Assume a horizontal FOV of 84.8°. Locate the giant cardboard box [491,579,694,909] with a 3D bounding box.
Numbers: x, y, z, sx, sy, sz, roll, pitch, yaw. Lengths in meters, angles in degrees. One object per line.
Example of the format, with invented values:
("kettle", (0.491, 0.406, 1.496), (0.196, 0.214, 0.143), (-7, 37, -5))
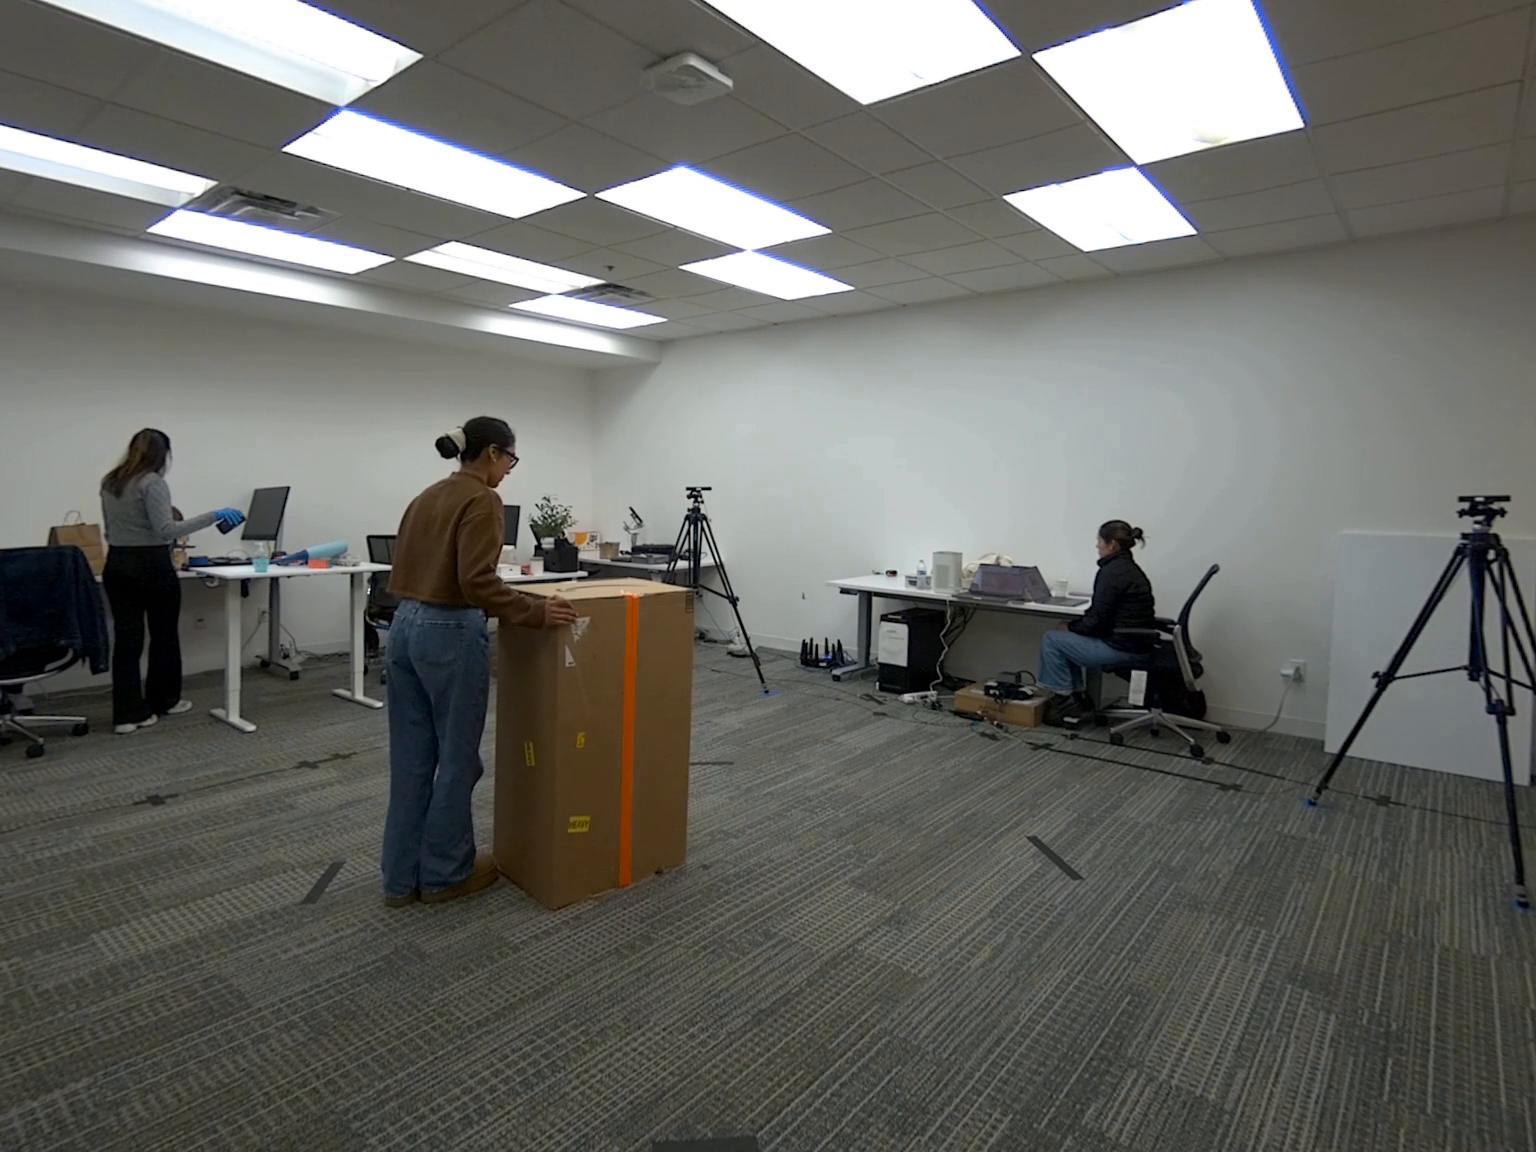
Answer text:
("giant cardboard box", (-0.639, 0.551, 3.099), (0.560, 1.023, 0.441), (-2, 5, -43))
